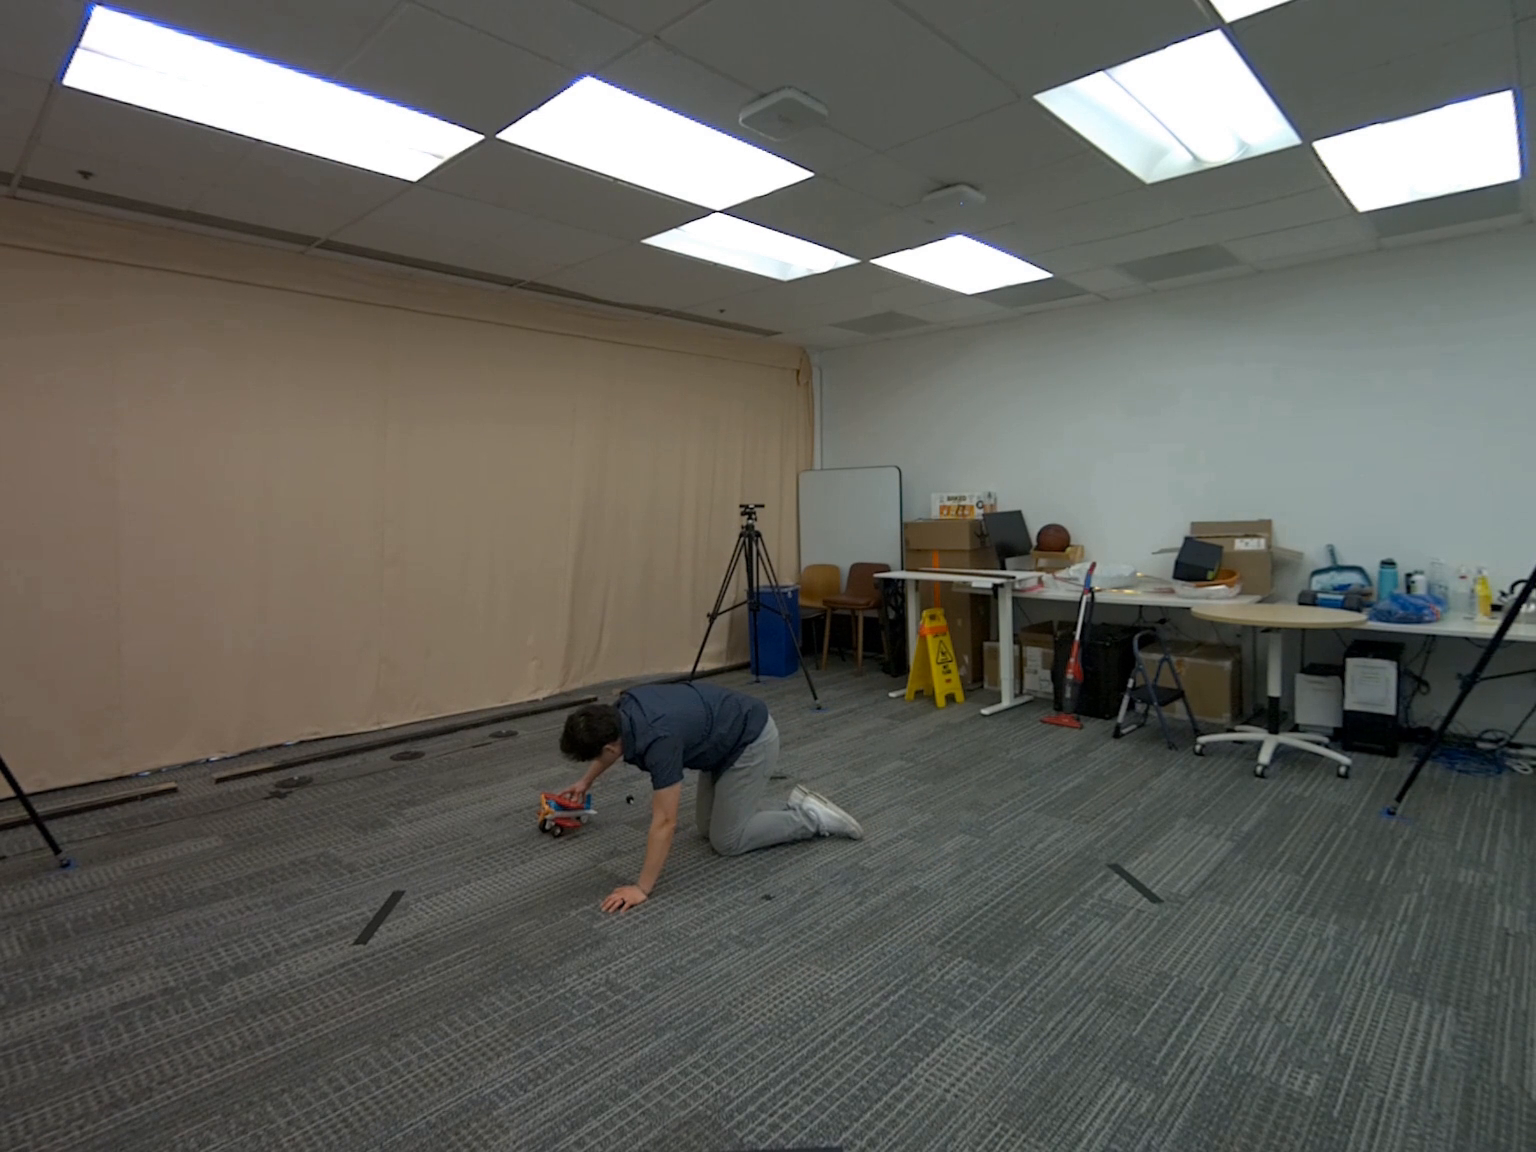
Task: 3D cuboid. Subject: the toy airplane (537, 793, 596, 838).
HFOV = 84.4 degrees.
[{"bbox_3d":[-0.895,1.036,3.696,0.255,0.156,0.256,3,6,15],"label":"toy airplane"}]
